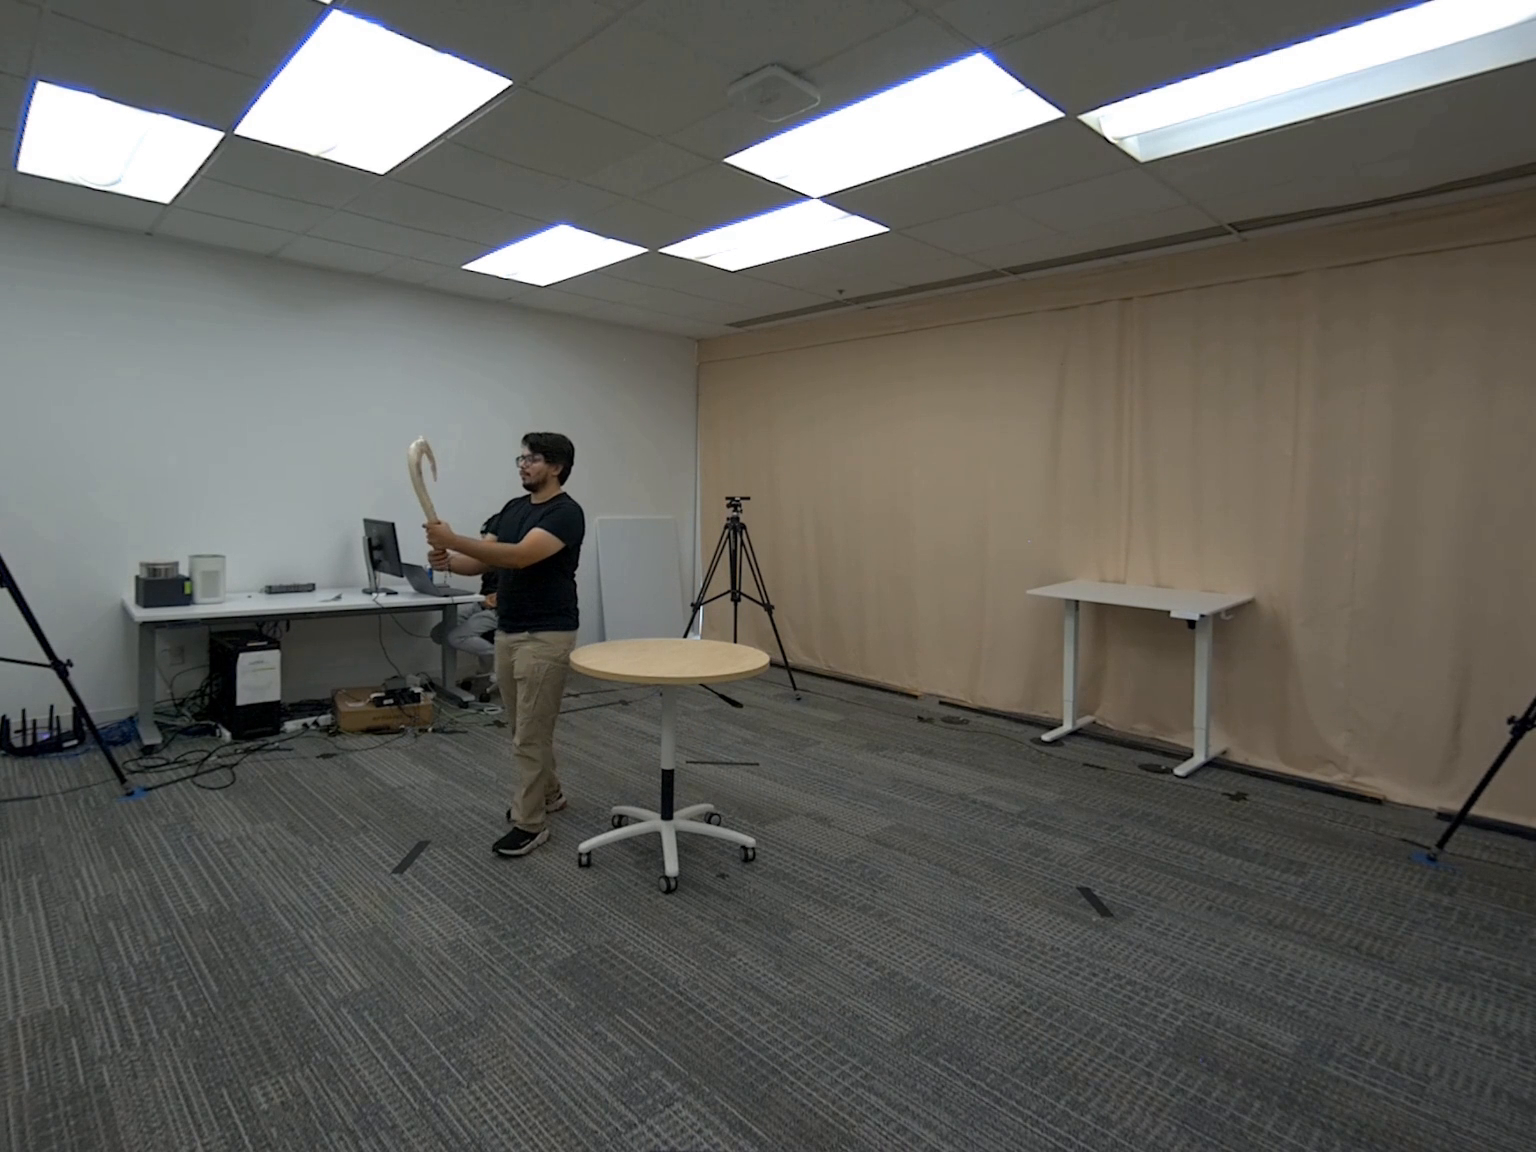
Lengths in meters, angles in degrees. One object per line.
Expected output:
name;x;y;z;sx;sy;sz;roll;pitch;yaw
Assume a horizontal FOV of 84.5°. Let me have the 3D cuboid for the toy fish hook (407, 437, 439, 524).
toy fish hook;-1.279;-0.274;3.177;0.048;0.498;0.227;-1;24;5
